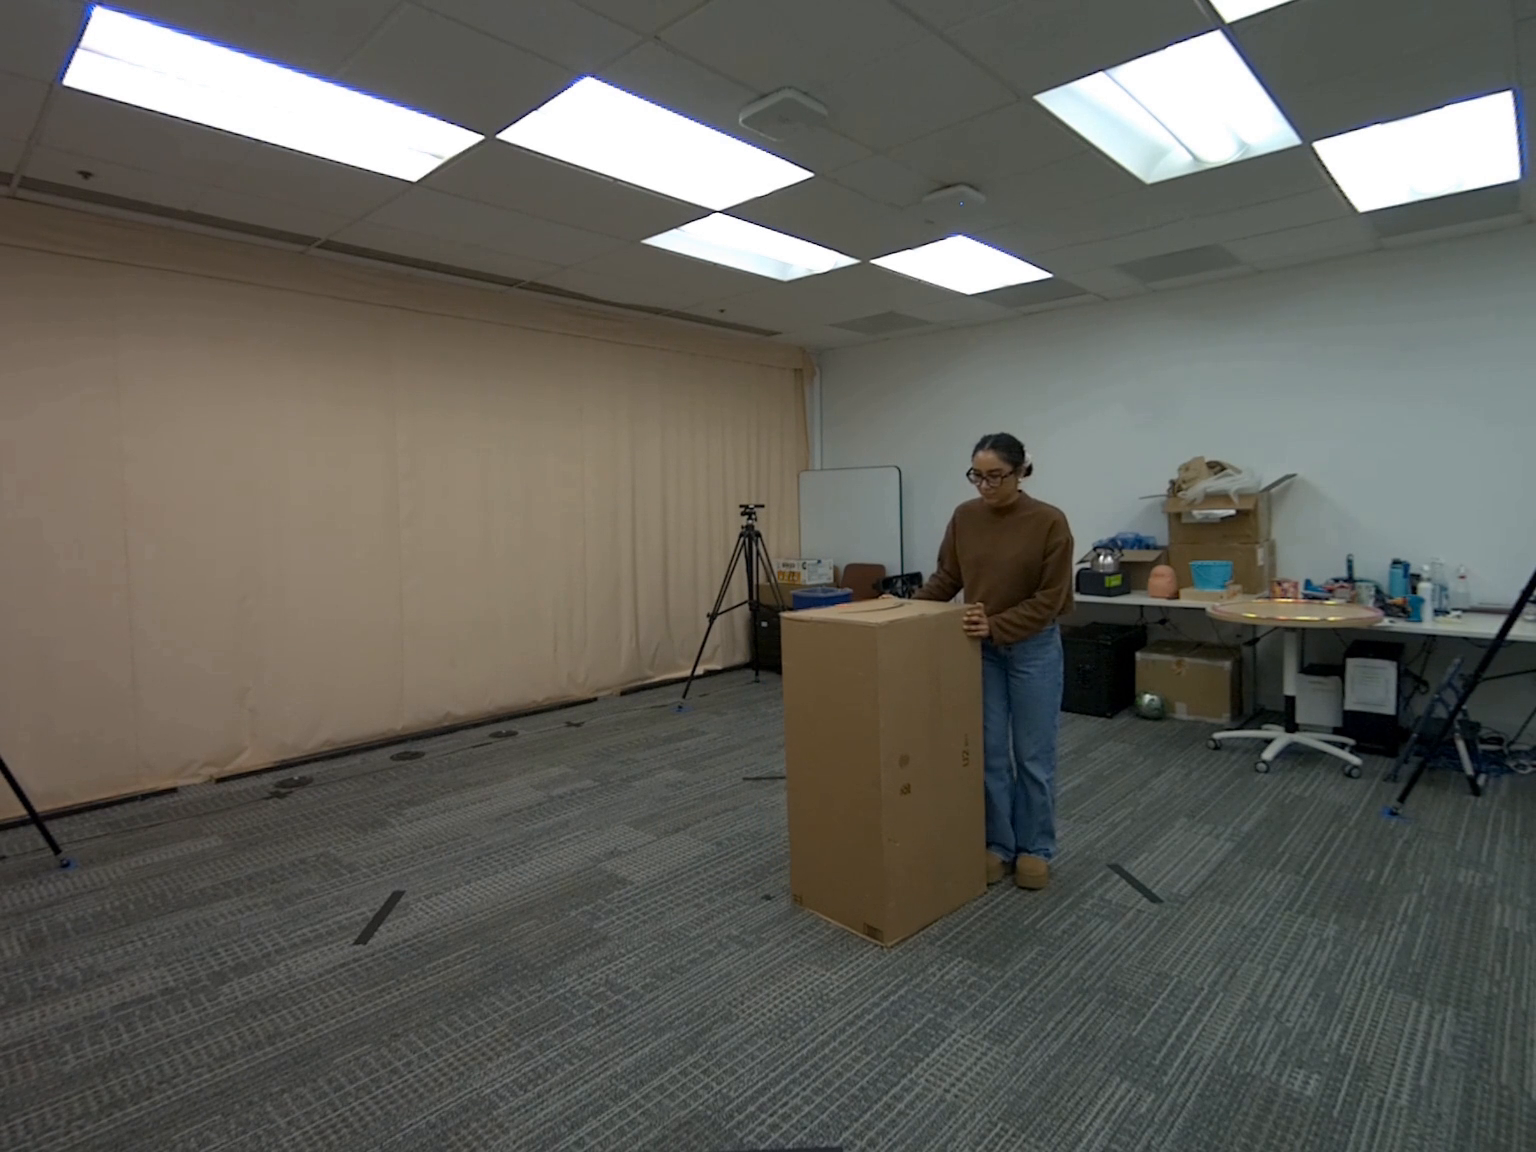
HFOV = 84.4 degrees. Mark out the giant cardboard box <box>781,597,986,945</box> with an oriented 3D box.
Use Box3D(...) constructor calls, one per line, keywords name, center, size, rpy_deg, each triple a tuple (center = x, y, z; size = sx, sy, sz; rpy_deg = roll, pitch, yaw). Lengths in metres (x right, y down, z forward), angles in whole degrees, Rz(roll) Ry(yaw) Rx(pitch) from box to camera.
Box3D(name="giant cardboard box", center=(0.408, 0.627, 2.935), size=(0.560, 1.024, 0.440), rpy_deg=(-4, 4, -42))
